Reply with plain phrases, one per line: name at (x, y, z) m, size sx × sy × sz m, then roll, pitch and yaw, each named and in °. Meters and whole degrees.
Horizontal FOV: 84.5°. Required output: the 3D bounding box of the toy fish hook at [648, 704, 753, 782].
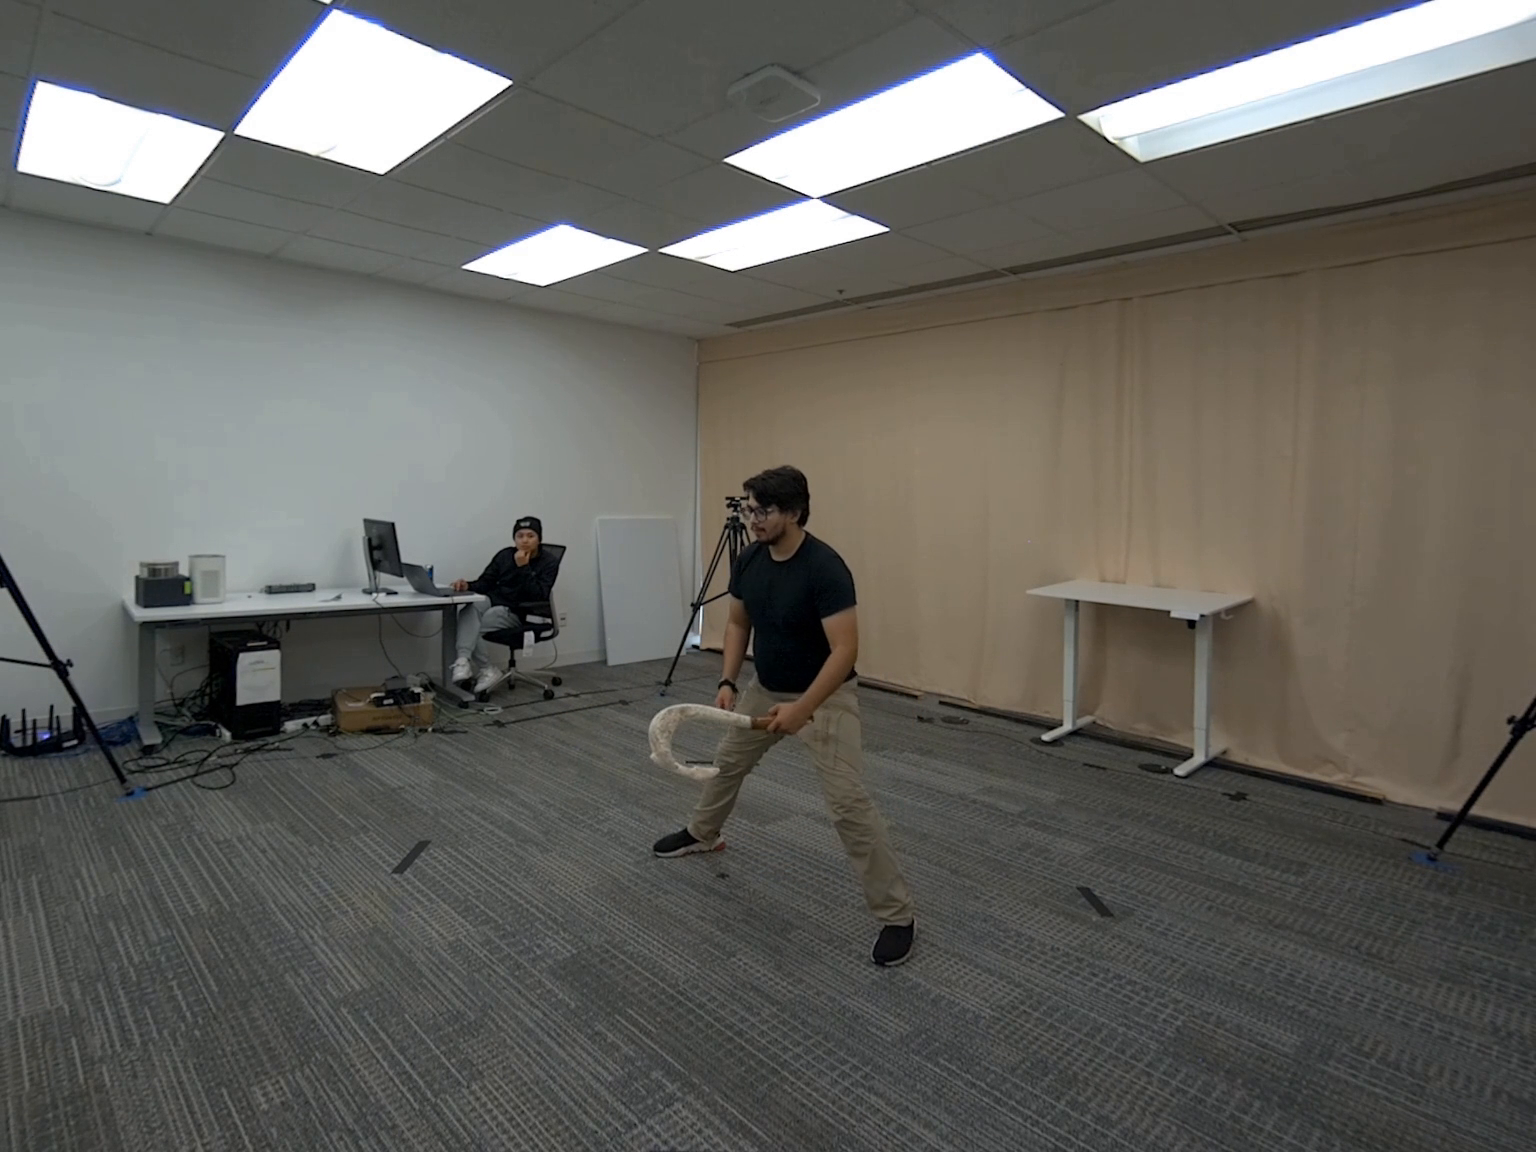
toy fish hook at (-0.101, 0.493, 2.479) m, size 0.502 × 0.229 × 0.048 m, roll 0°, pitch -27°, yaw -11°
